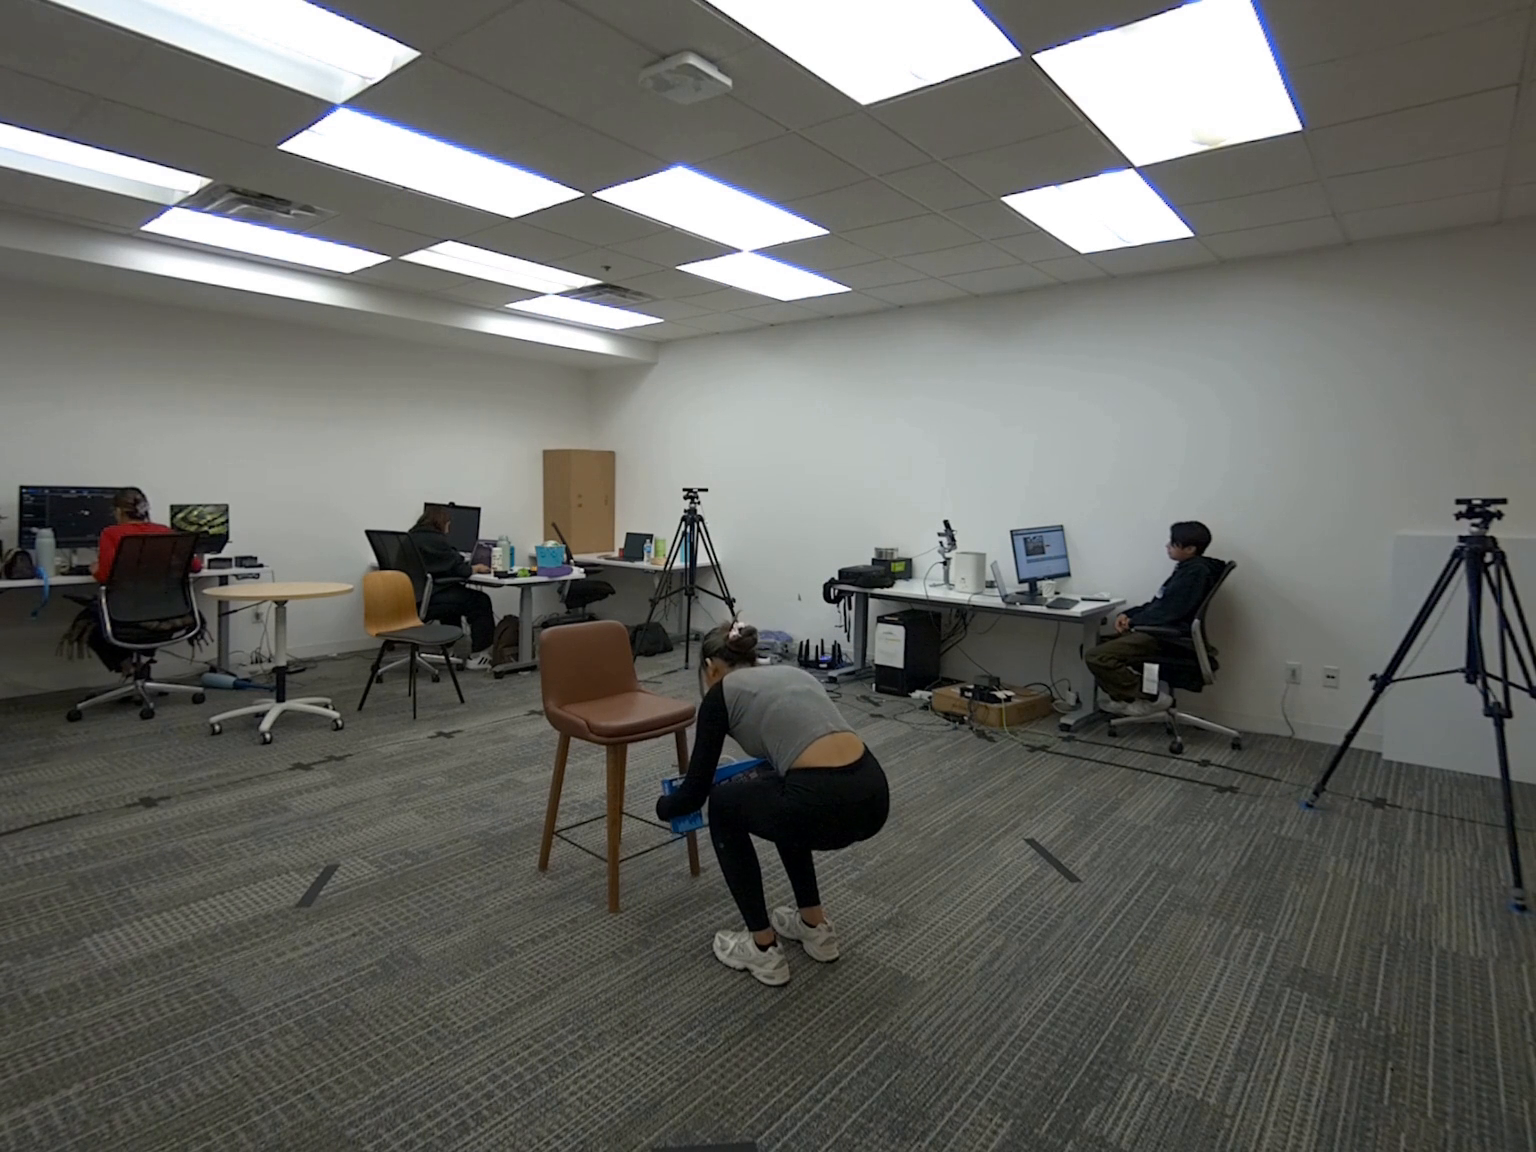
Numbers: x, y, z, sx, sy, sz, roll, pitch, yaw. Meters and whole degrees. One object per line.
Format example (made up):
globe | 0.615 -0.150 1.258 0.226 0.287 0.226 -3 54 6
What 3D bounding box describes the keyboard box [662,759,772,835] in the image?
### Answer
keyboard box | -0.141 0.716 2.817 0.426 0.179 0.059 -5 -14 -28
